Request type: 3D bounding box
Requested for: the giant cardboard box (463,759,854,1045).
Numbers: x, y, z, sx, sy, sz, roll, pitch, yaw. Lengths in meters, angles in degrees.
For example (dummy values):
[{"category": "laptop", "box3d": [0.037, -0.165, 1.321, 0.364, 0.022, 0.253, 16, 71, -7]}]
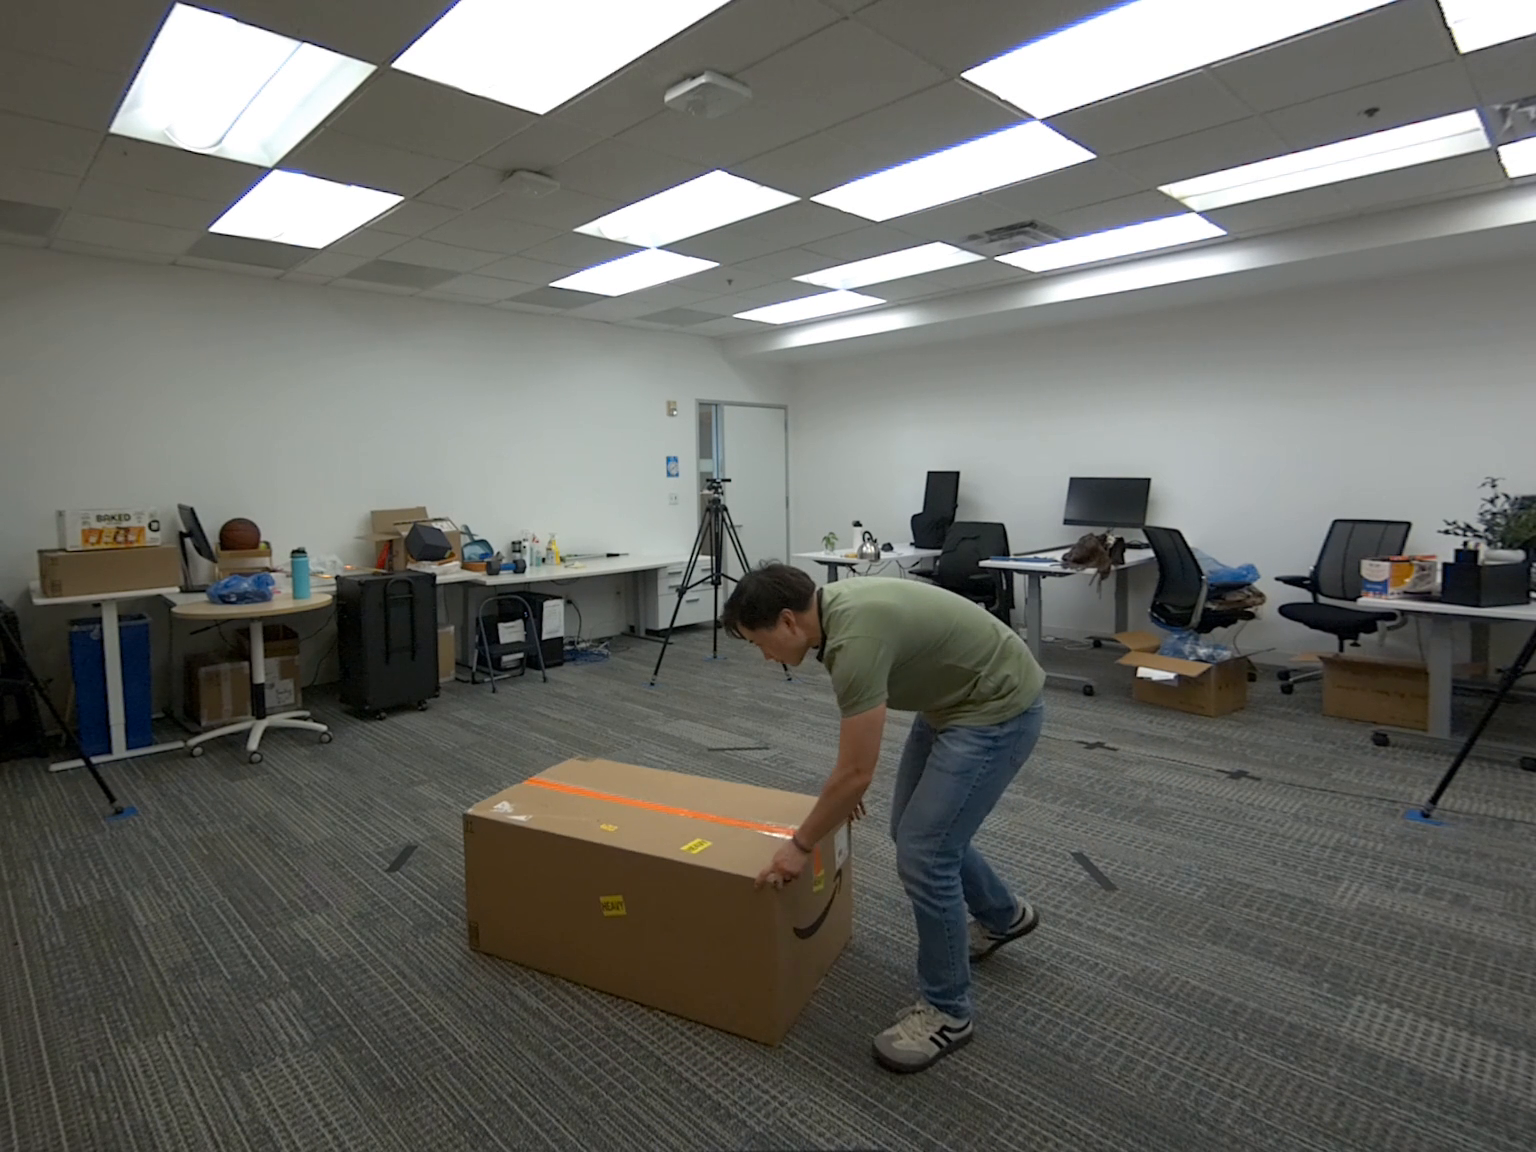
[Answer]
[{"category": "giant cardboard box", "box3d": [-0.325, 0.898, 2.577, 1.051, 0.424, 0.566, 3, 7, 27]}]
